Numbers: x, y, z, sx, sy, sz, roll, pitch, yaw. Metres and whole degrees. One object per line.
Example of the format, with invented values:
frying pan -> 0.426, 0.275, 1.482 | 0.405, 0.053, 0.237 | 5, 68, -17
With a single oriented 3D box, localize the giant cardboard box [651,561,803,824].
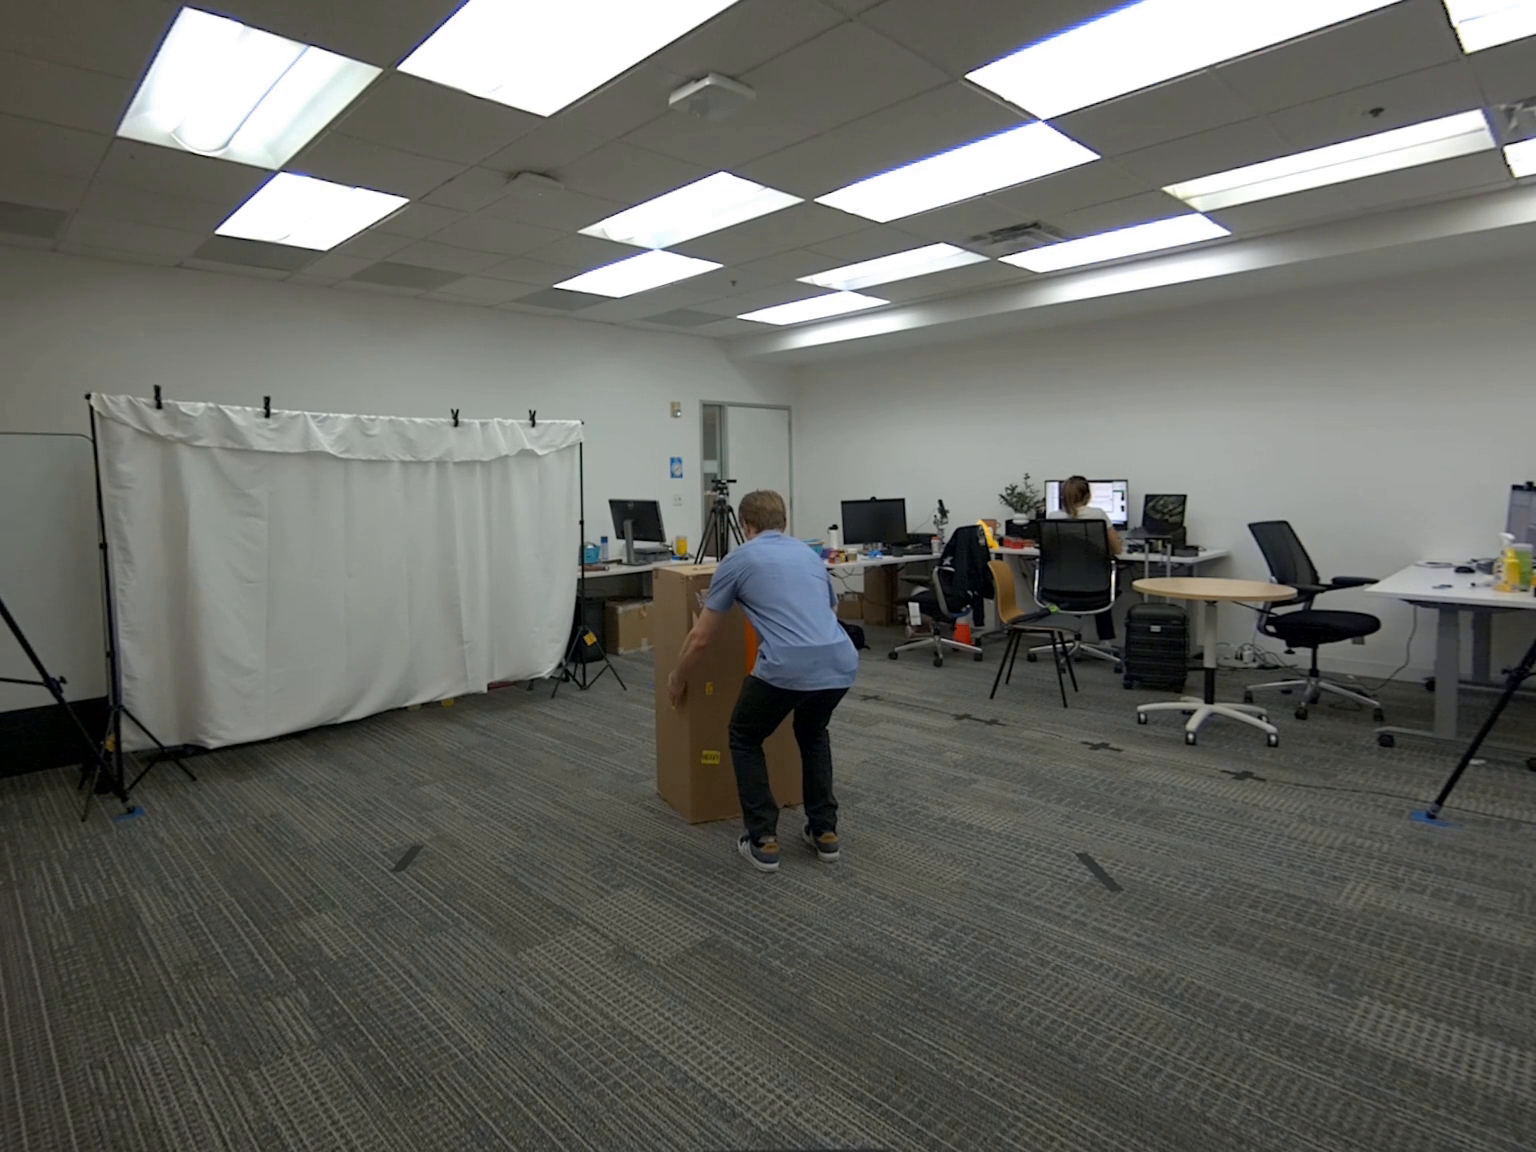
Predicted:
giant cardboard box -> -0.160, 0.469, 3.743 | 0.565, 1.022, 0.437 | -3, 4, -25
